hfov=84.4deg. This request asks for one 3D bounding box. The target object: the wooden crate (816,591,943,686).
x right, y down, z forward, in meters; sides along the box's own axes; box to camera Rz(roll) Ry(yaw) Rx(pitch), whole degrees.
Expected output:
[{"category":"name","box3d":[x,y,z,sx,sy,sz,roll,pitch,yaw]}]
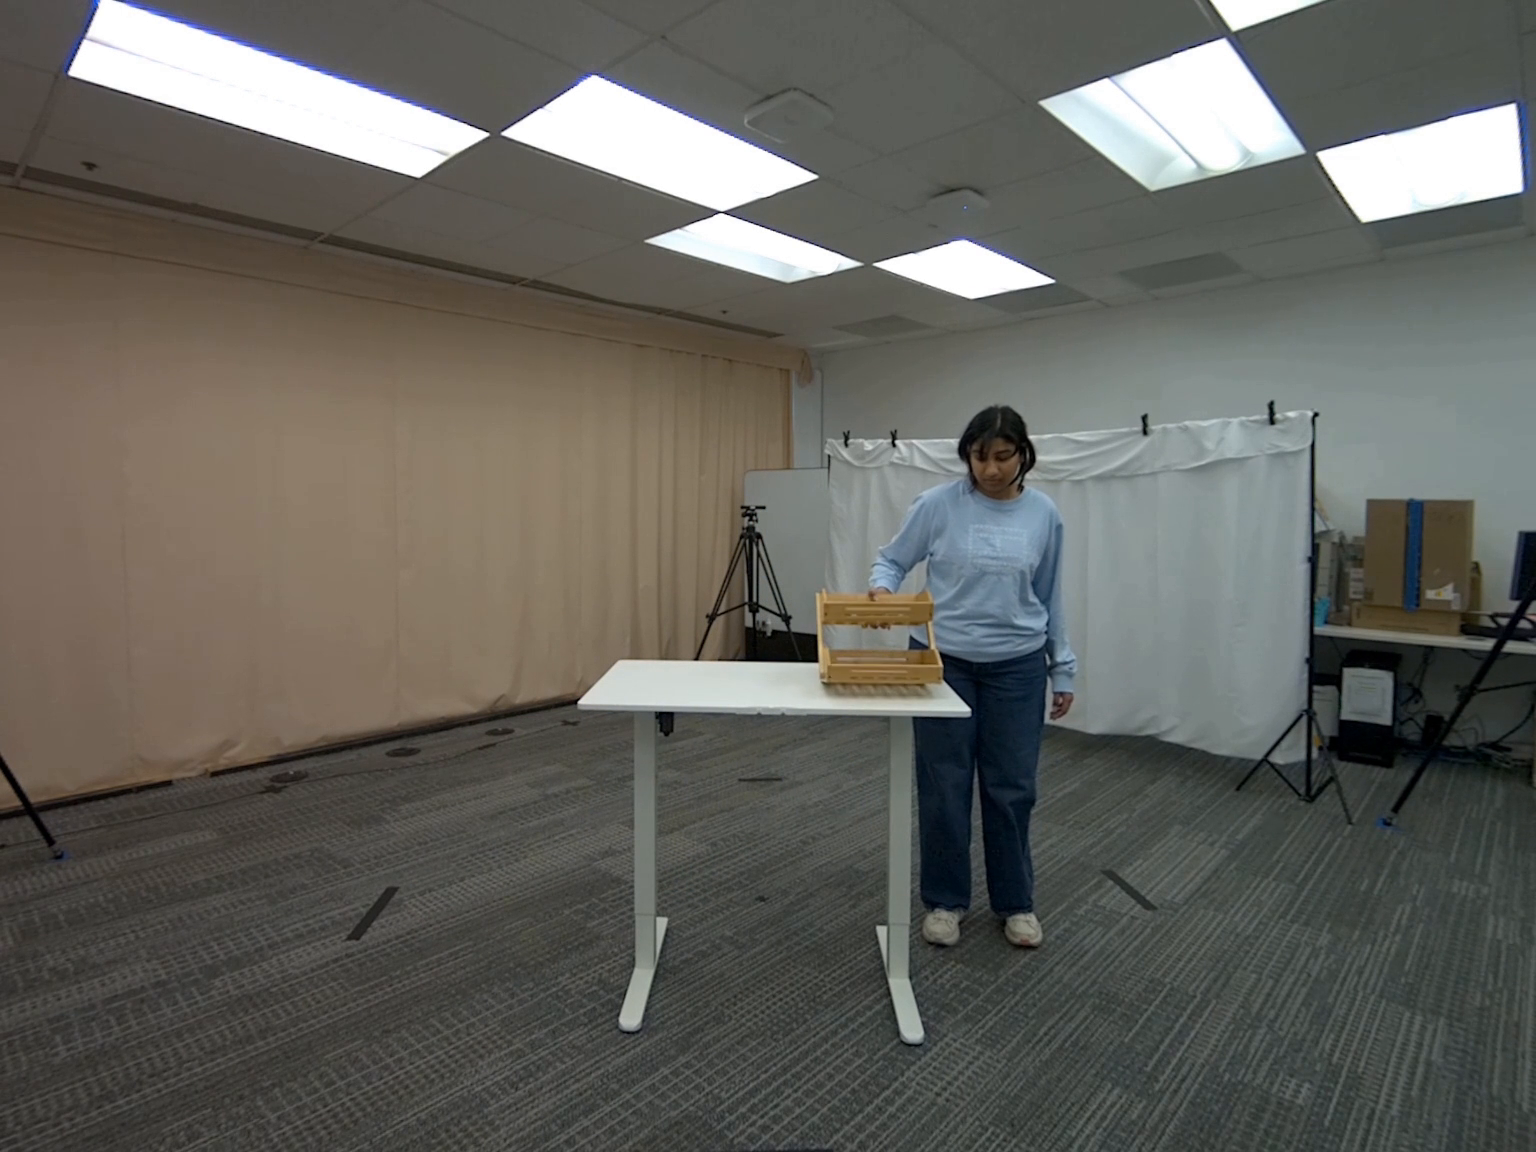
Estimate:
[{"category":"wooden crate","box3d":[0.319,0.168,2.363,0.324,0.275,0.301,0,-9,-2]}]
